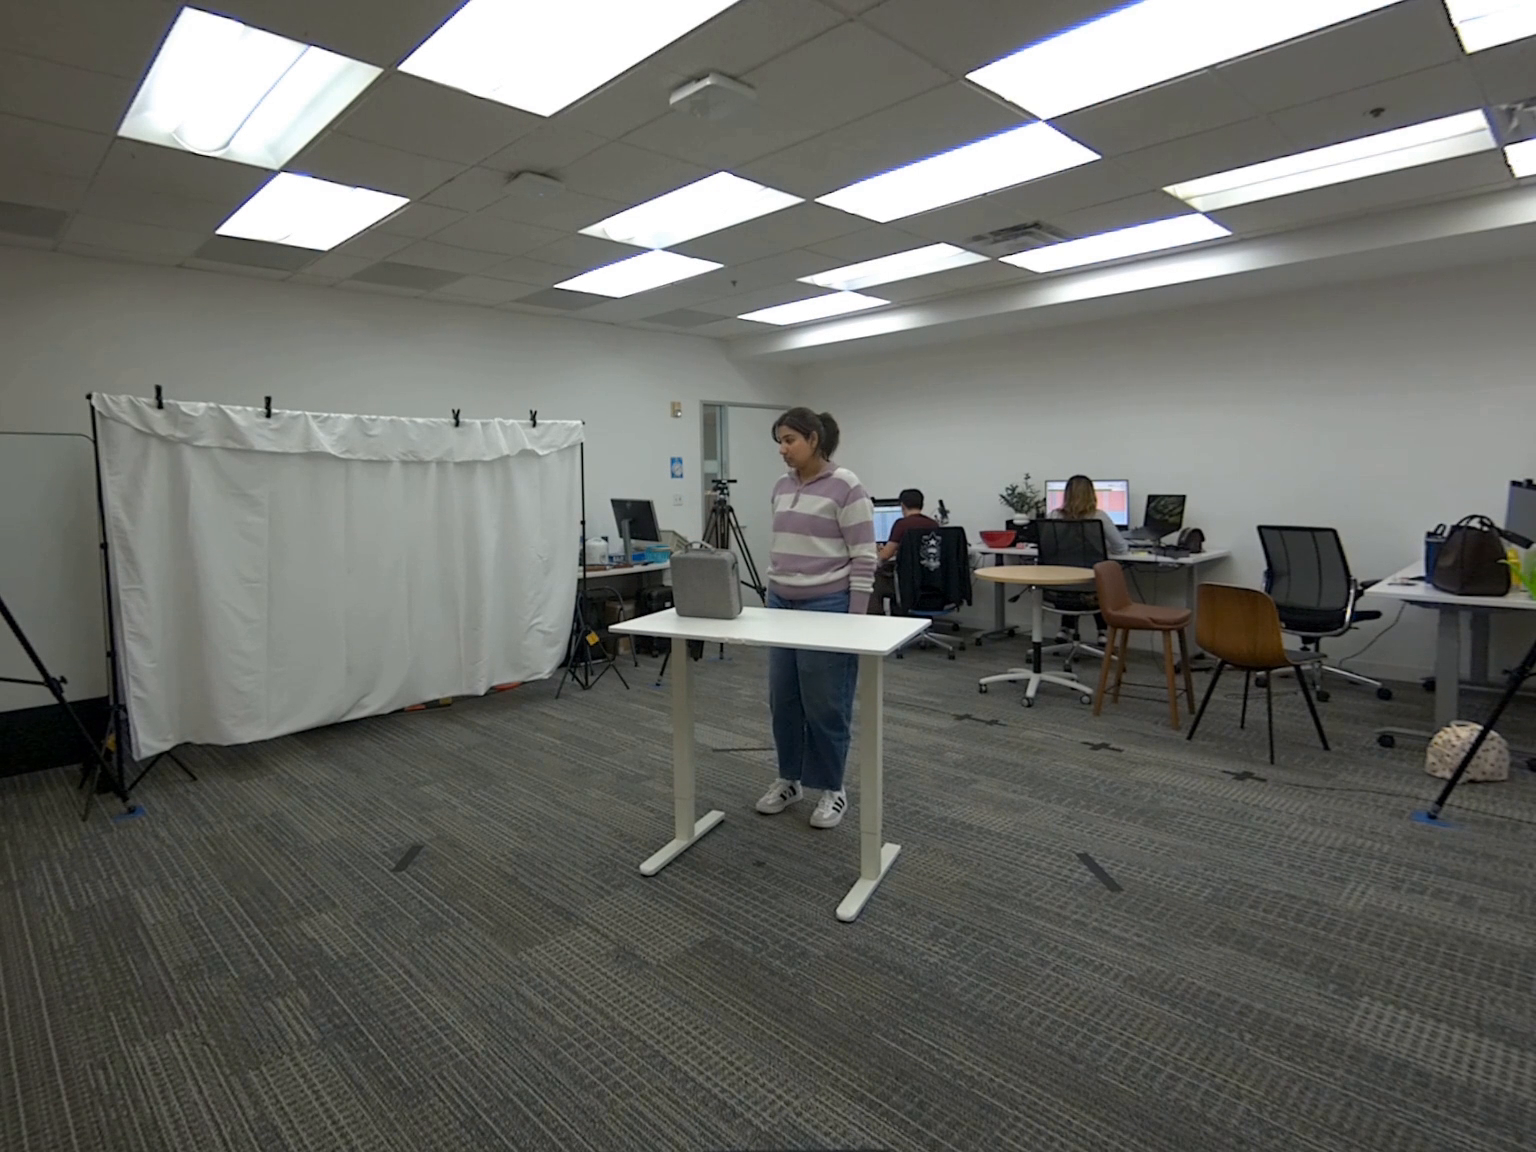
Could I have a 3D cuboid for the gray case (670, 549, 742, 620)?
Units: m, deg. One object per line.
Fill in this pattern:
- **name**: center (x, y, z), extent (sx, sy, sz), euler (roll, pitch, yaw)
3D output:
- **gray case**: center (-0.223, 0.027, 3.181), extent (0.263, 0.257, 0.103), euler (1, 16, 25)
